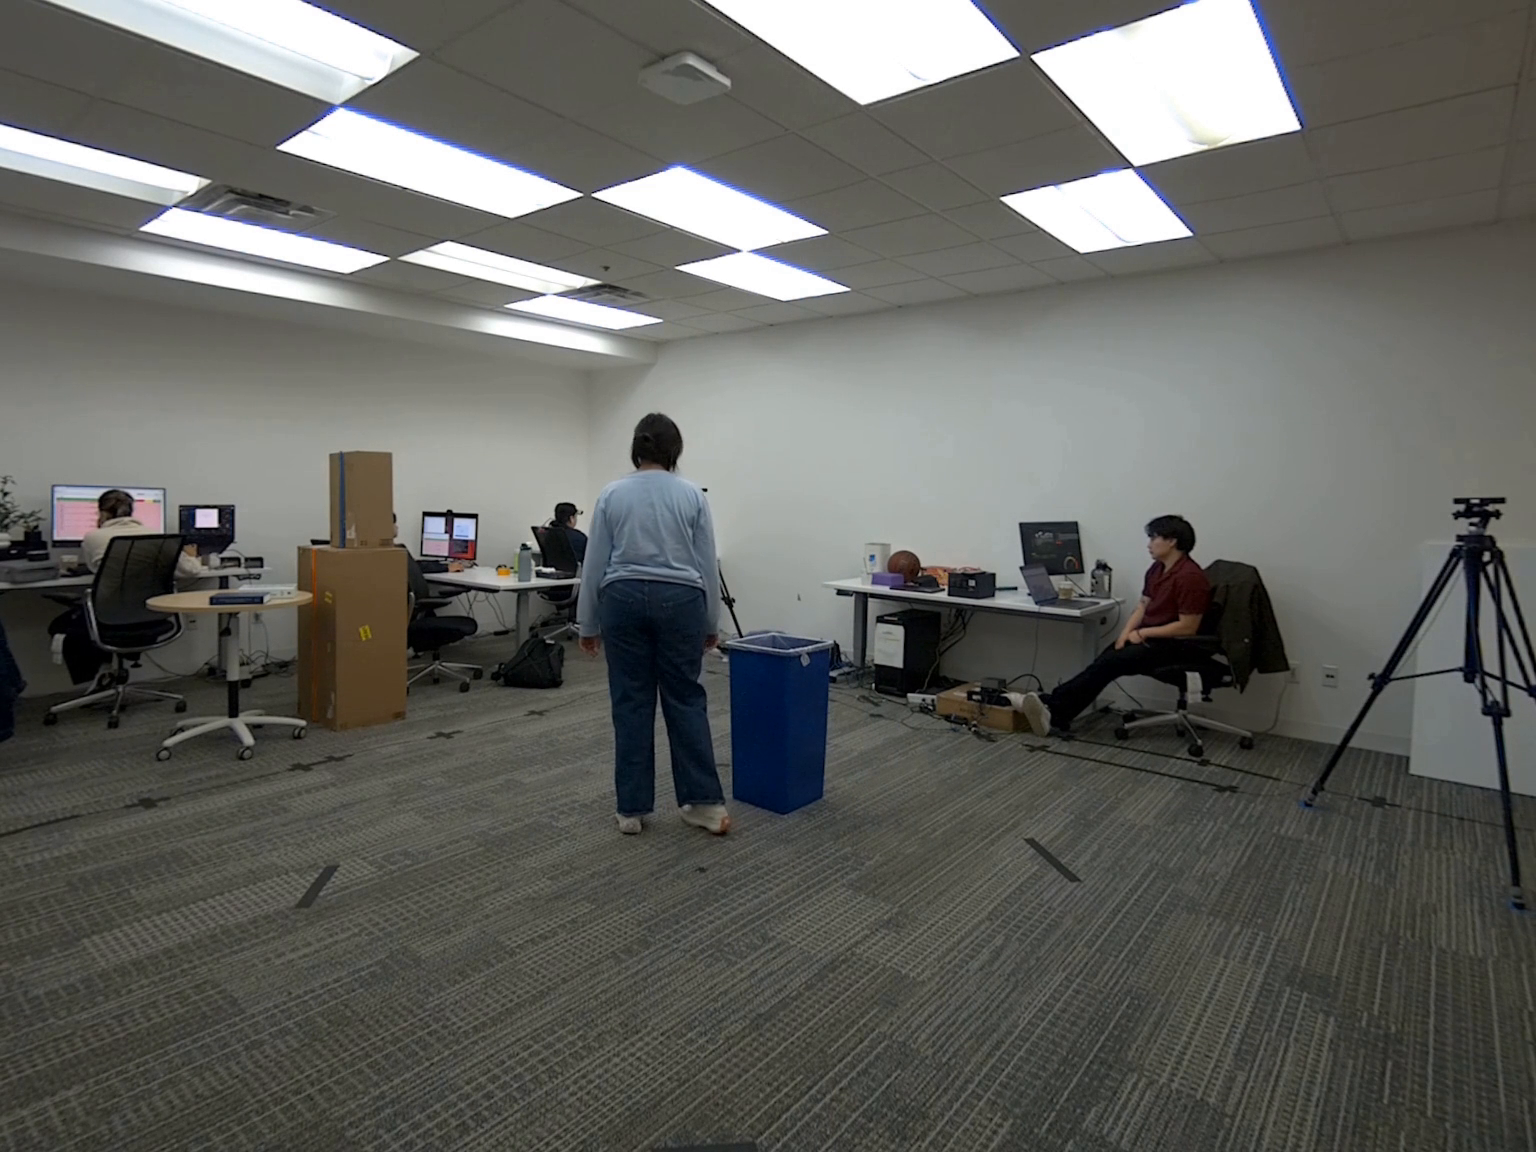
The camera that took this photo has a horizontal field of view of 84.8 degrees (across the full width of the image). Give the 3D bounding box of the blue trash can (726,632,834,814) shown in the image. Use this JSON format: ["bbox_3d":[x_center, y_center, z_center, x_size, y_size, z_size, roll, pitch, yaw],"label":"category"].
[{"bbox_3d":[0.035,0.646,3.842,0.386,0.712,0.367,4,4,39],"label":"blue trash can"}]
